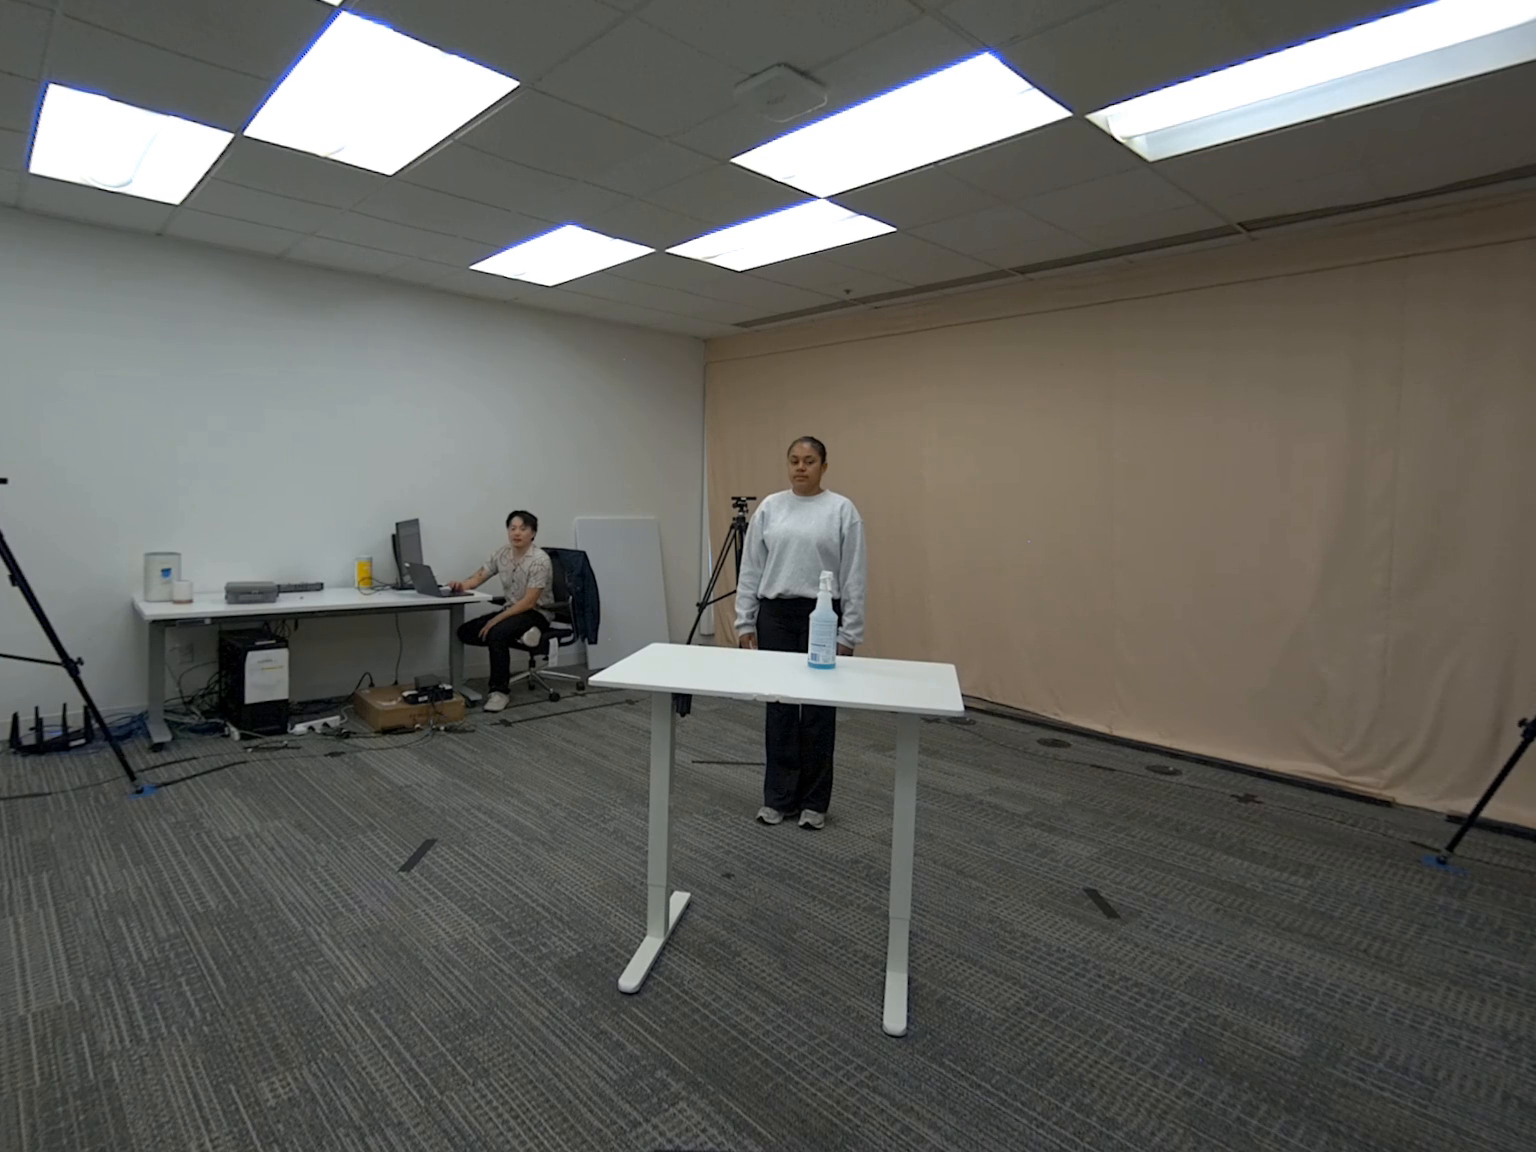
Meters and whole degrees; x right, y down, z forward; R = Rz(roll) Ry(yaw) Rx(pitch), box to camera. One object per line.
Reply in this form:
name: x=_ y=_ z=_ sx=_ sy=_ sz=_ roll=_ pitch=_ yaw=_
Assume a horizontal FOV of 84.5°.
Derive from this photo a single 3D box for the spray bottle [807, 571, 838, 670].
spray bottle: x=0.161 y=0.136 z=2.576 sx=0.088 sy=0.296 sz=0.089 roll=3 pitch=4 yaw=13
